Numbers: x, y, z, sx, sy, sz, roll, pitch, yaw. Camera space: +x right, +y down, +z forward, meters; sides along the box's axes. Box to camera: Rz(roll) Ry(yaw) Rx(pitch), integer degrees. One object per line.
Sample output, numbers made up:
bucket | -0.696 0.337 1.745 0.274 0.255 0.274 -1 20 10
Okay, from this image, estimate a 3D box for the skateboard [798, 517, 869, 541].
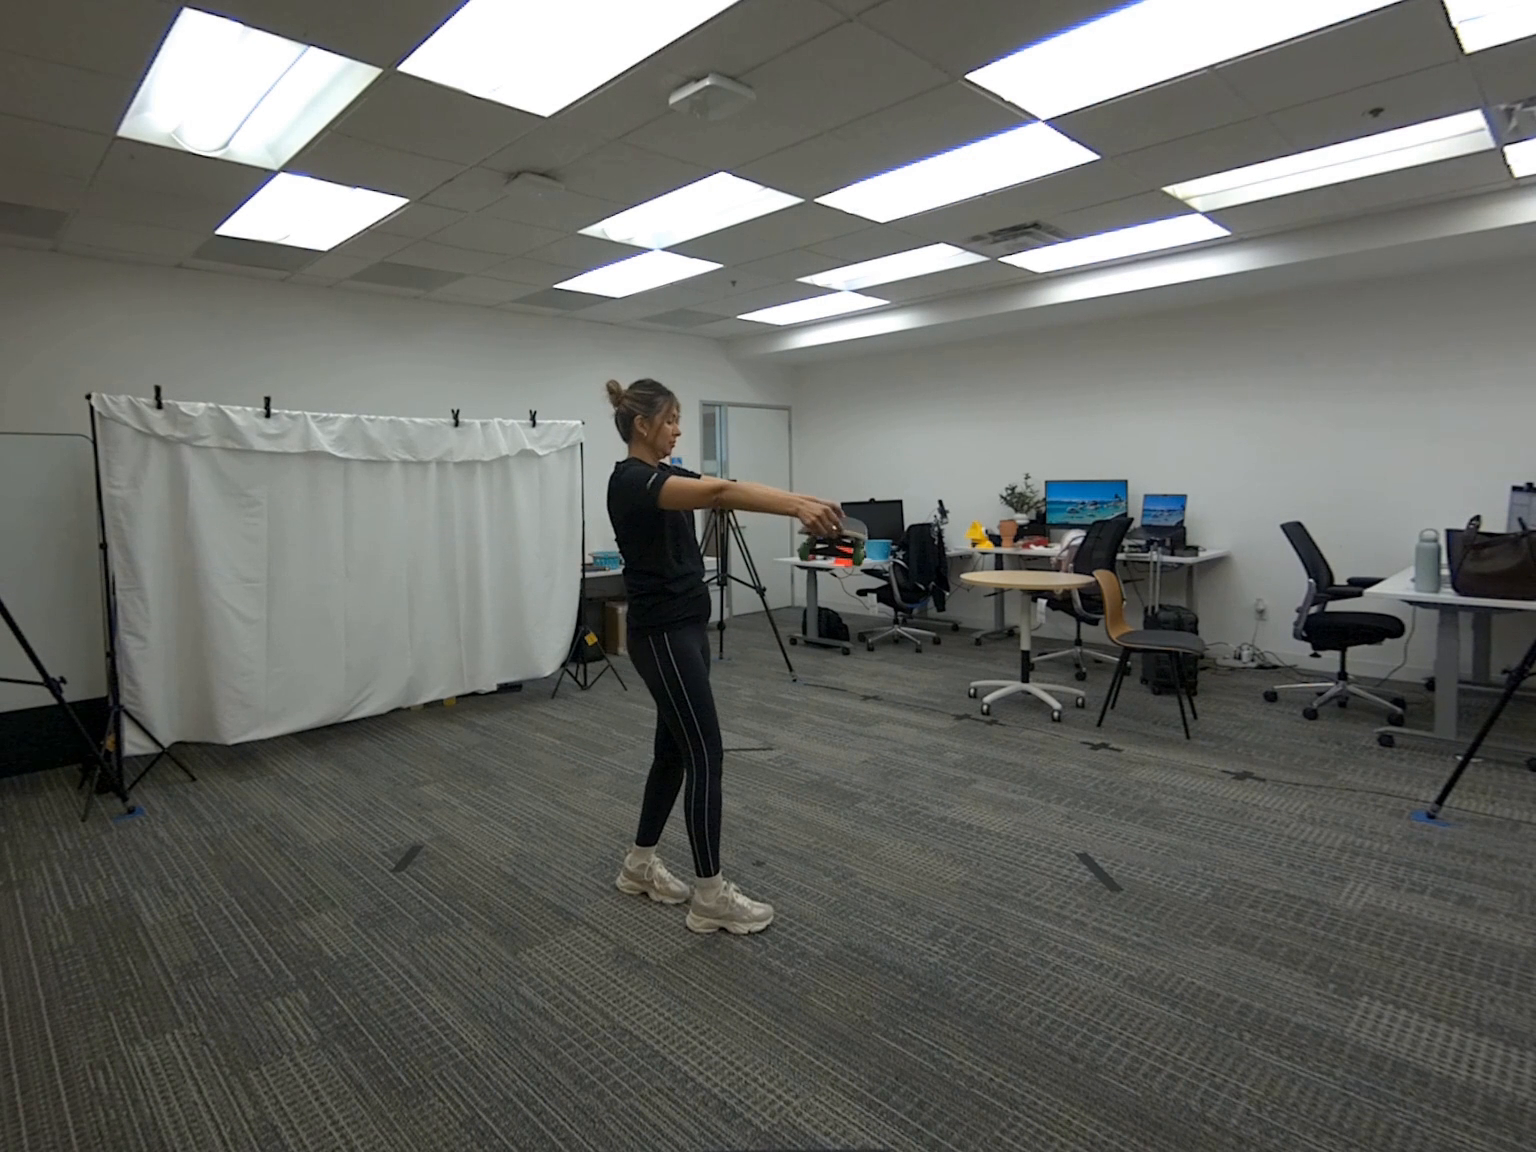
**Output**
skateboard | 0.198 -0.120 2.664 0.195 0.110 0.782 7 7 6
